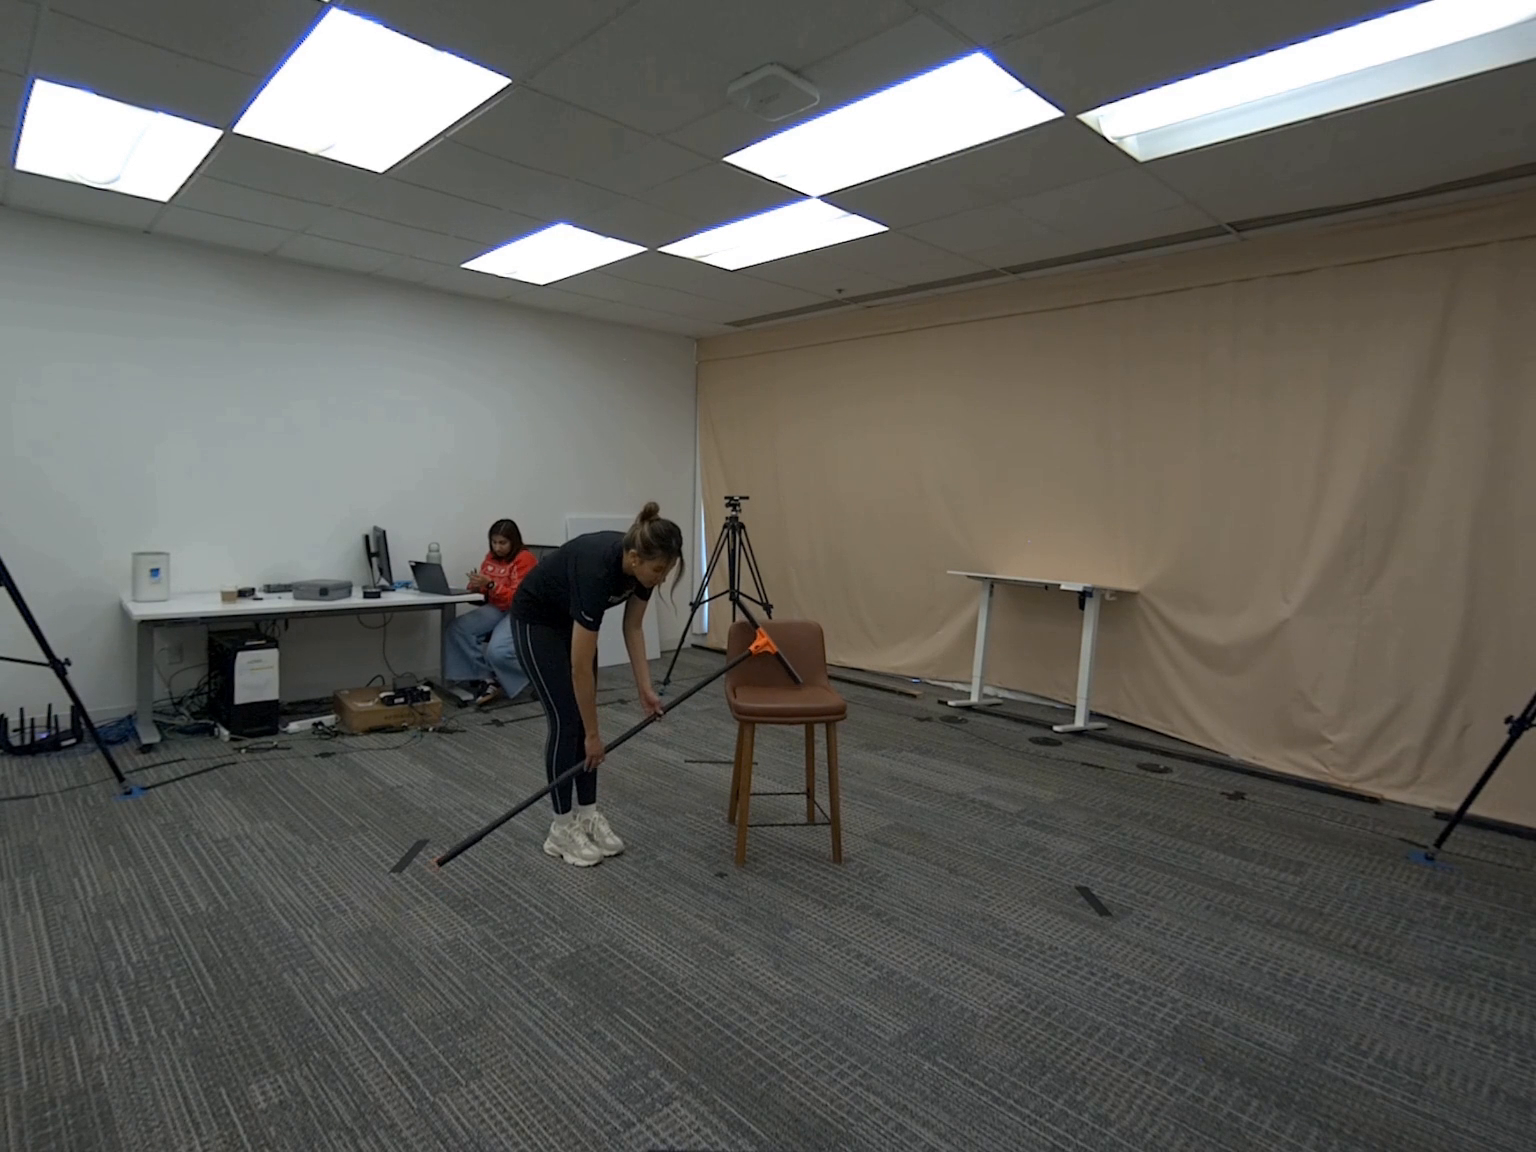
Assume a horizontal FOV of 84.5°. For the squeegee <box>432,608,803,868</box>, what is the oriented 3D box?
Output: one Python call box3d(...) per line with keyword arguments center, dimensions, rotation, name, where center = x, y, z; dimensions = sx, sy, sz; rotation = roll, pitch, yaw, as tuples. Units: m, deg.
box3d(center=(-0.566, 0.617, 3.149), dimensions=(1.527, 0.441, 0.053), rotation=(-33, -8, -28), name="squeegee")
